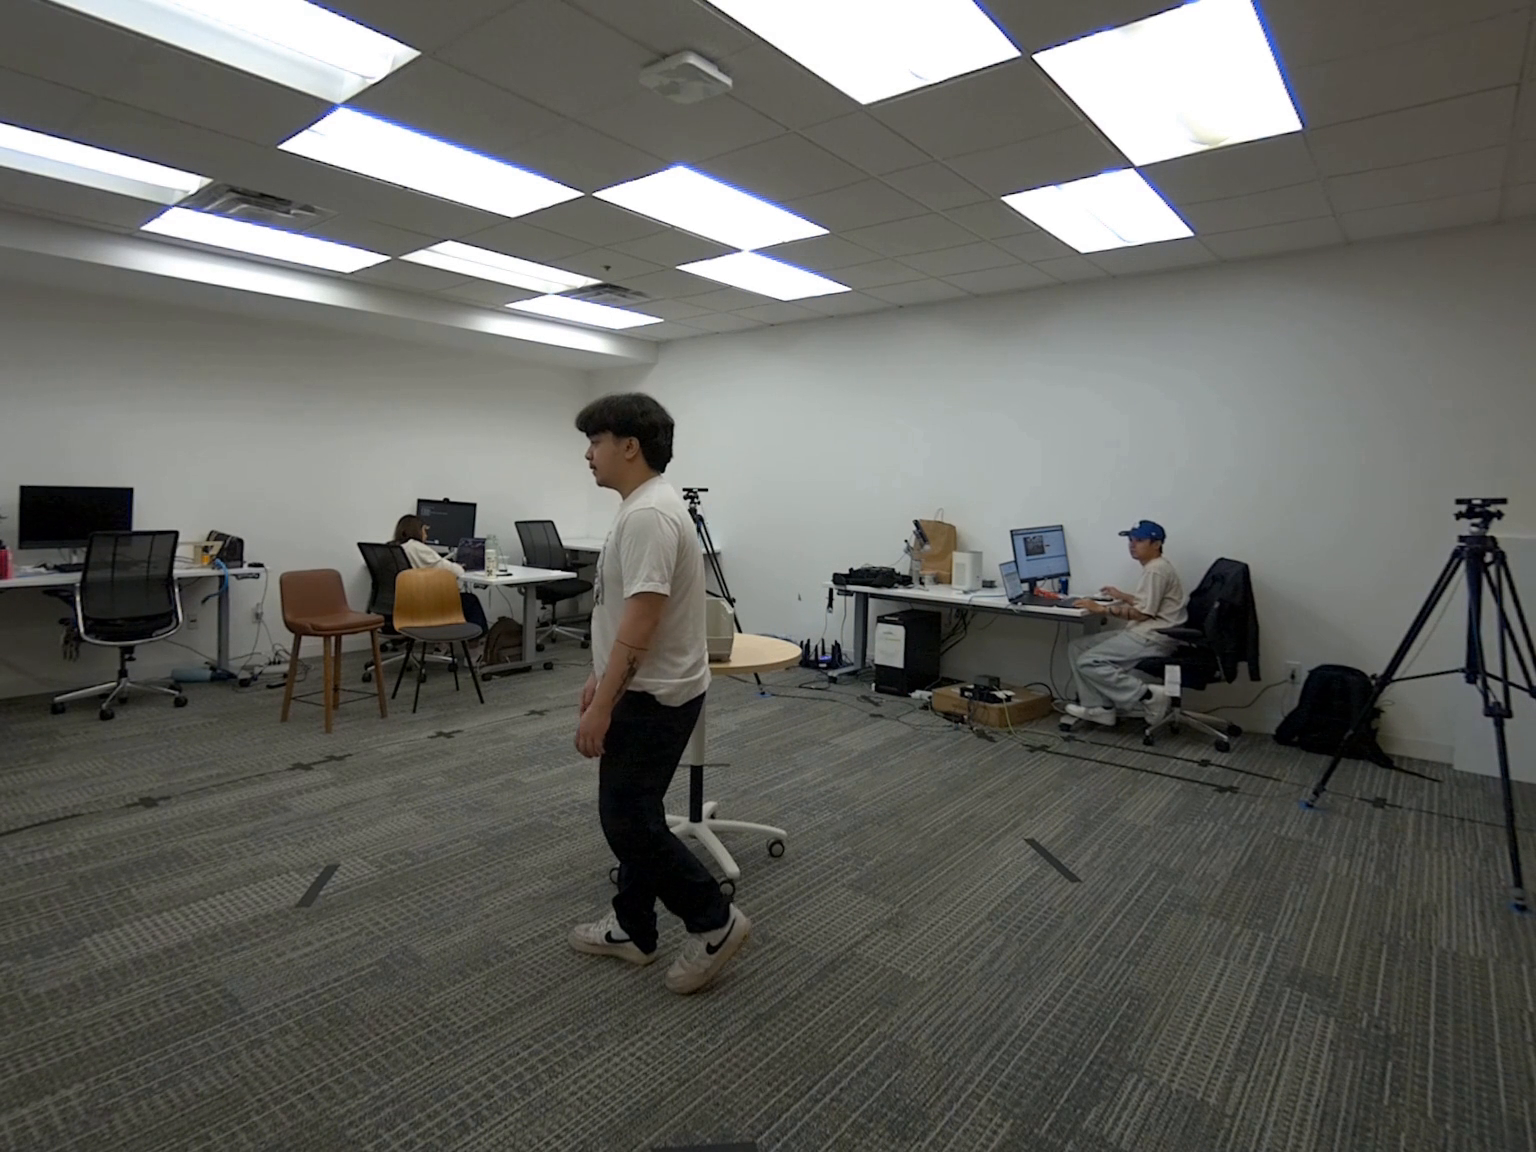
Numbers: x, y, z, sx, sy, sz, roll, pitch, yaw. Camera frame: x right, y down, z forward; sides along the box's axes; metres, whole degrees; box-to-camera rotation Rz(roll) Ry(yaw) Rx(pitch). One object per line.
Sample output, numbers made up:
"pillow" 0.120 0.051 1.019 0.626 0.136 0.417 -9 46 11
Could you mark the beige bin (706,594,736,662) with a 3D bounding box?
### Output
"beige bin" -0.353 0.181 3.017 0.419 0.188 0.381 -1 4 -8
